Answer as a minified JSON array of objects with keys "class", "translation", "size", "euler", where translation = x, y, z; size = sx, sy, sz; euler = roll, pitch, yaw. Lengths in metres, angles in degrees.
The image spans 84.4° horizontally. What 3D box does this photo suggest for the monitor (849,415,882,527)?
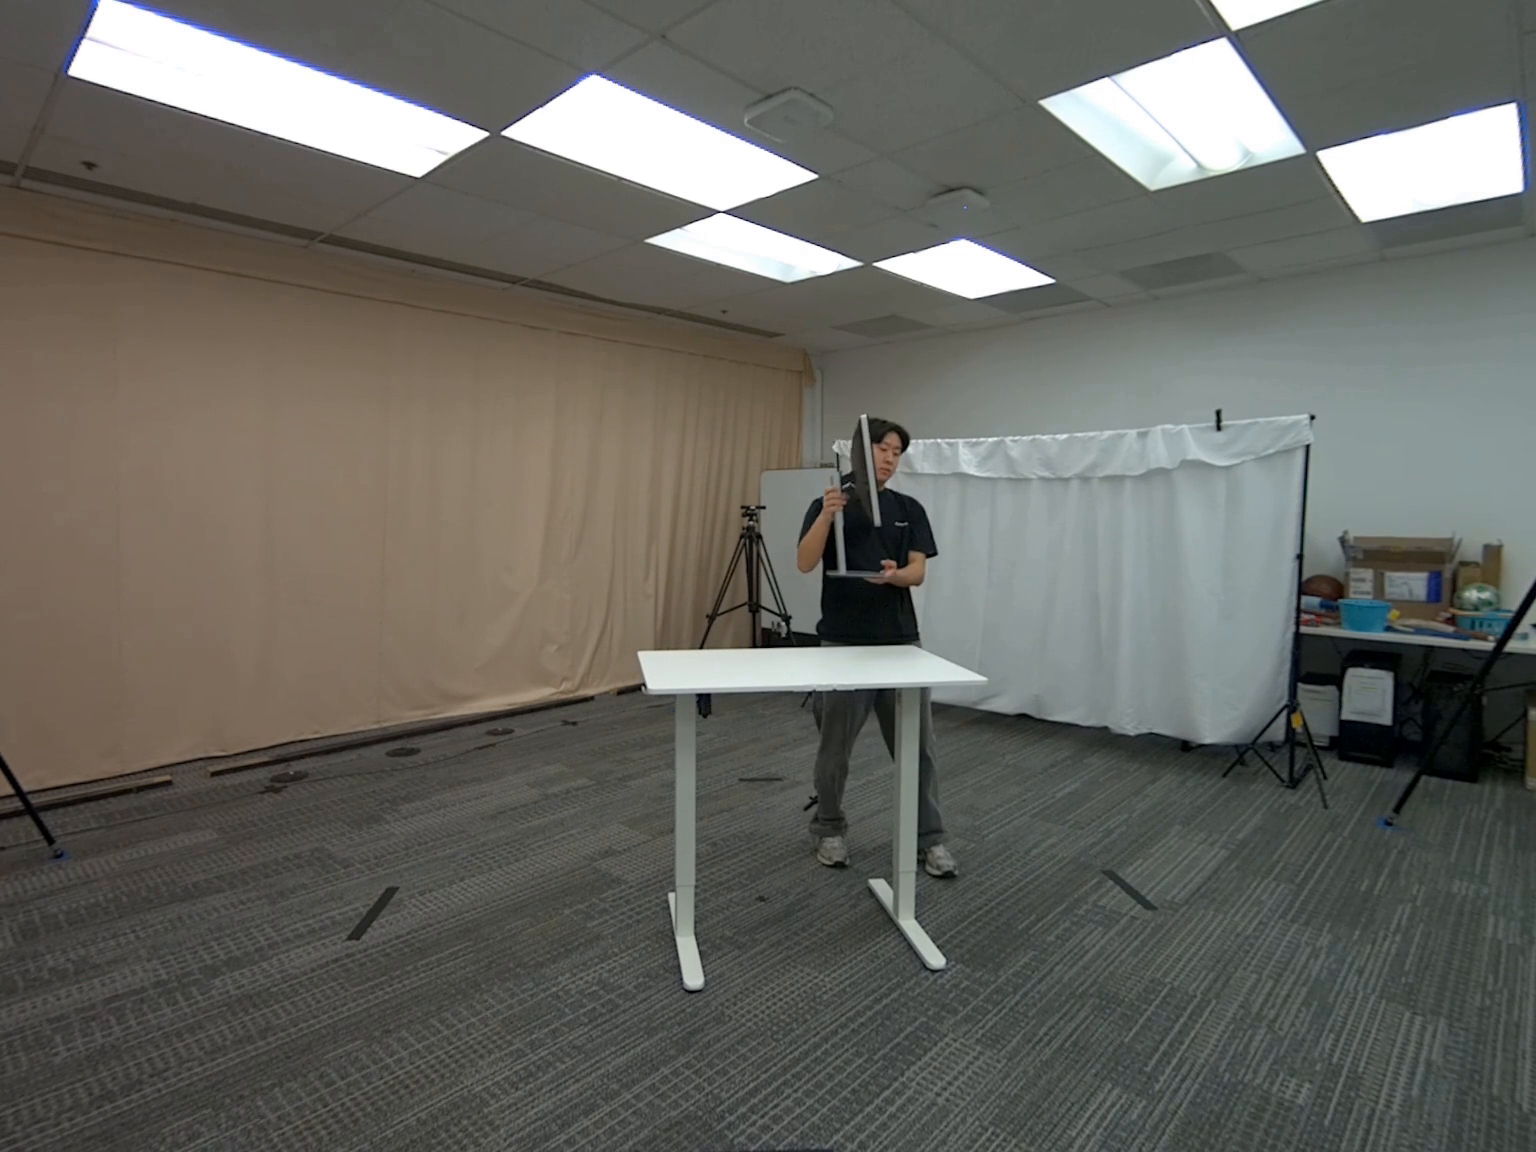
[{"class":"monitor","translation":[0.323,-0.253,2.991],"size":[0.225,0.565,0.556],"euler":[6,4,9]}]
